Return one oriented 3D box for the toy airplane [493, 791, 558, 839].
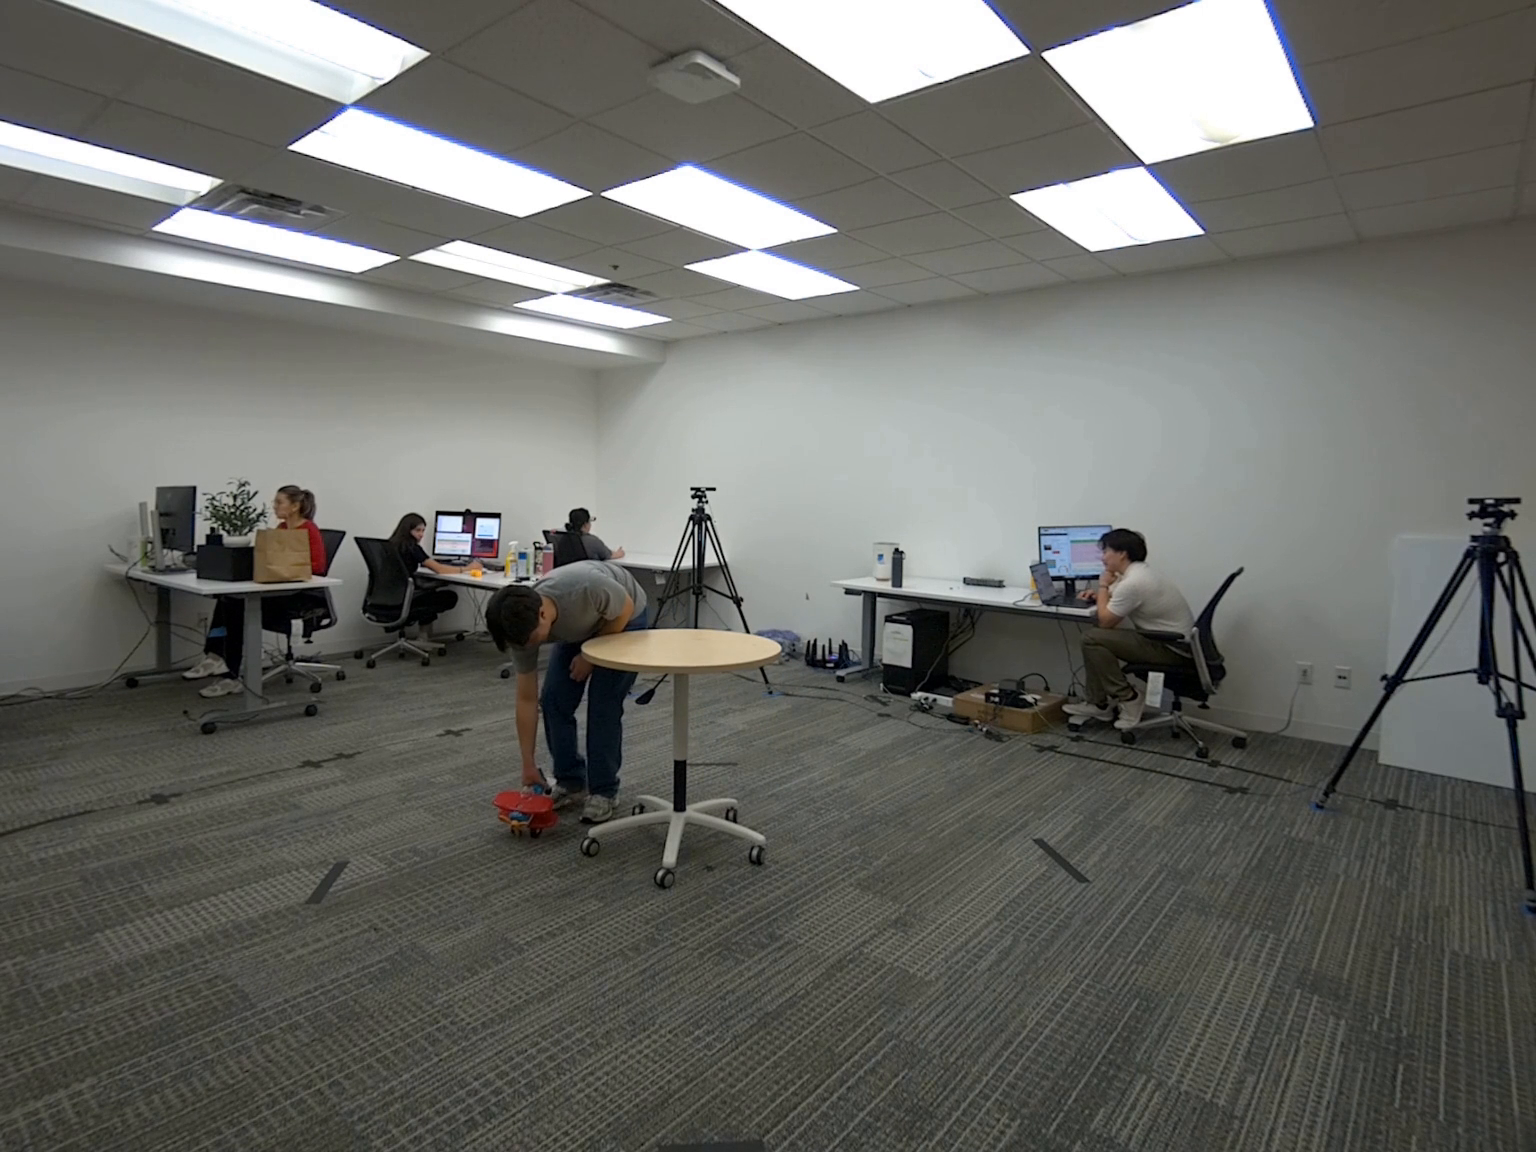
[{"bbox_3d":[-0.981,0.910,3.398,0.250,0.151,0.269,-17,44,-4],"label":"toy airplane"}]
